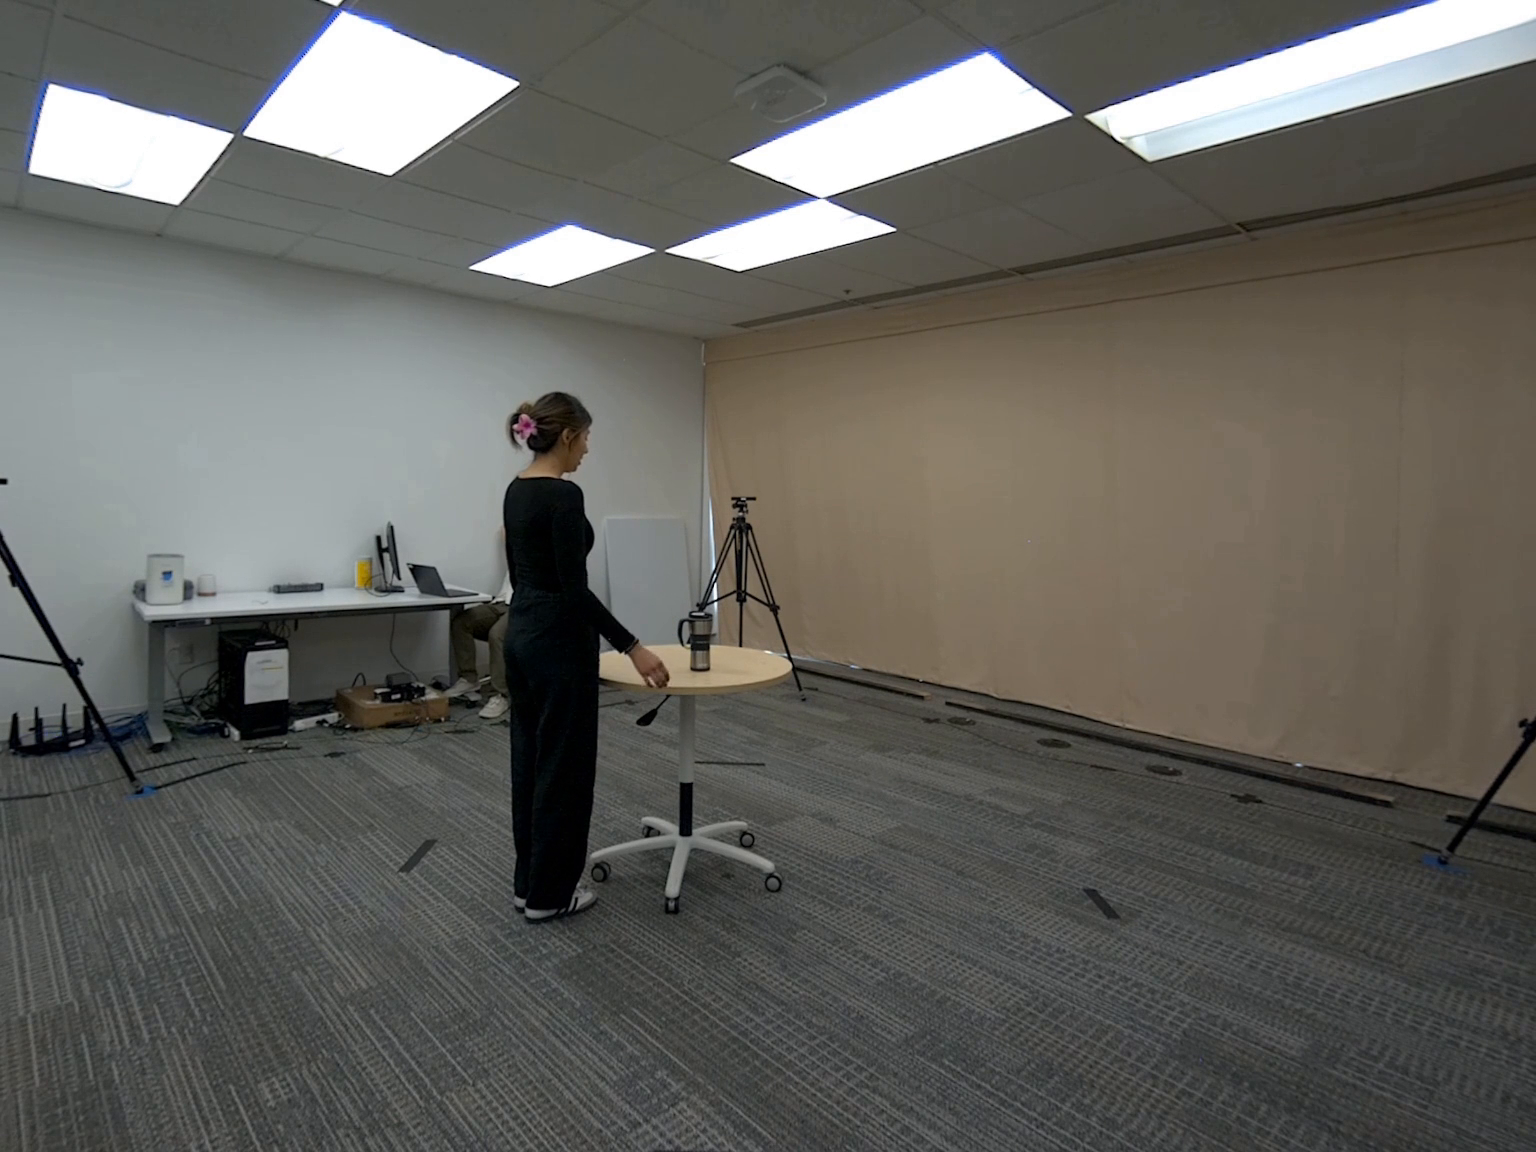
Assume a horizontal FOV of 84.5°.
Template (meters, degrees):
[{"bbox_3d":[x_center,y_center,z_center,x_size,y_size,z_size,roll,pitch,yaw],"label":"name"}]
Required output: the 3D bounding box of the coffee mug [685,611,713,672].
[{"bbox_3d":[-0.259,0.235,2.986,0.125,0.202,0.086,7,11,37],"label":"coffee mug"}]
